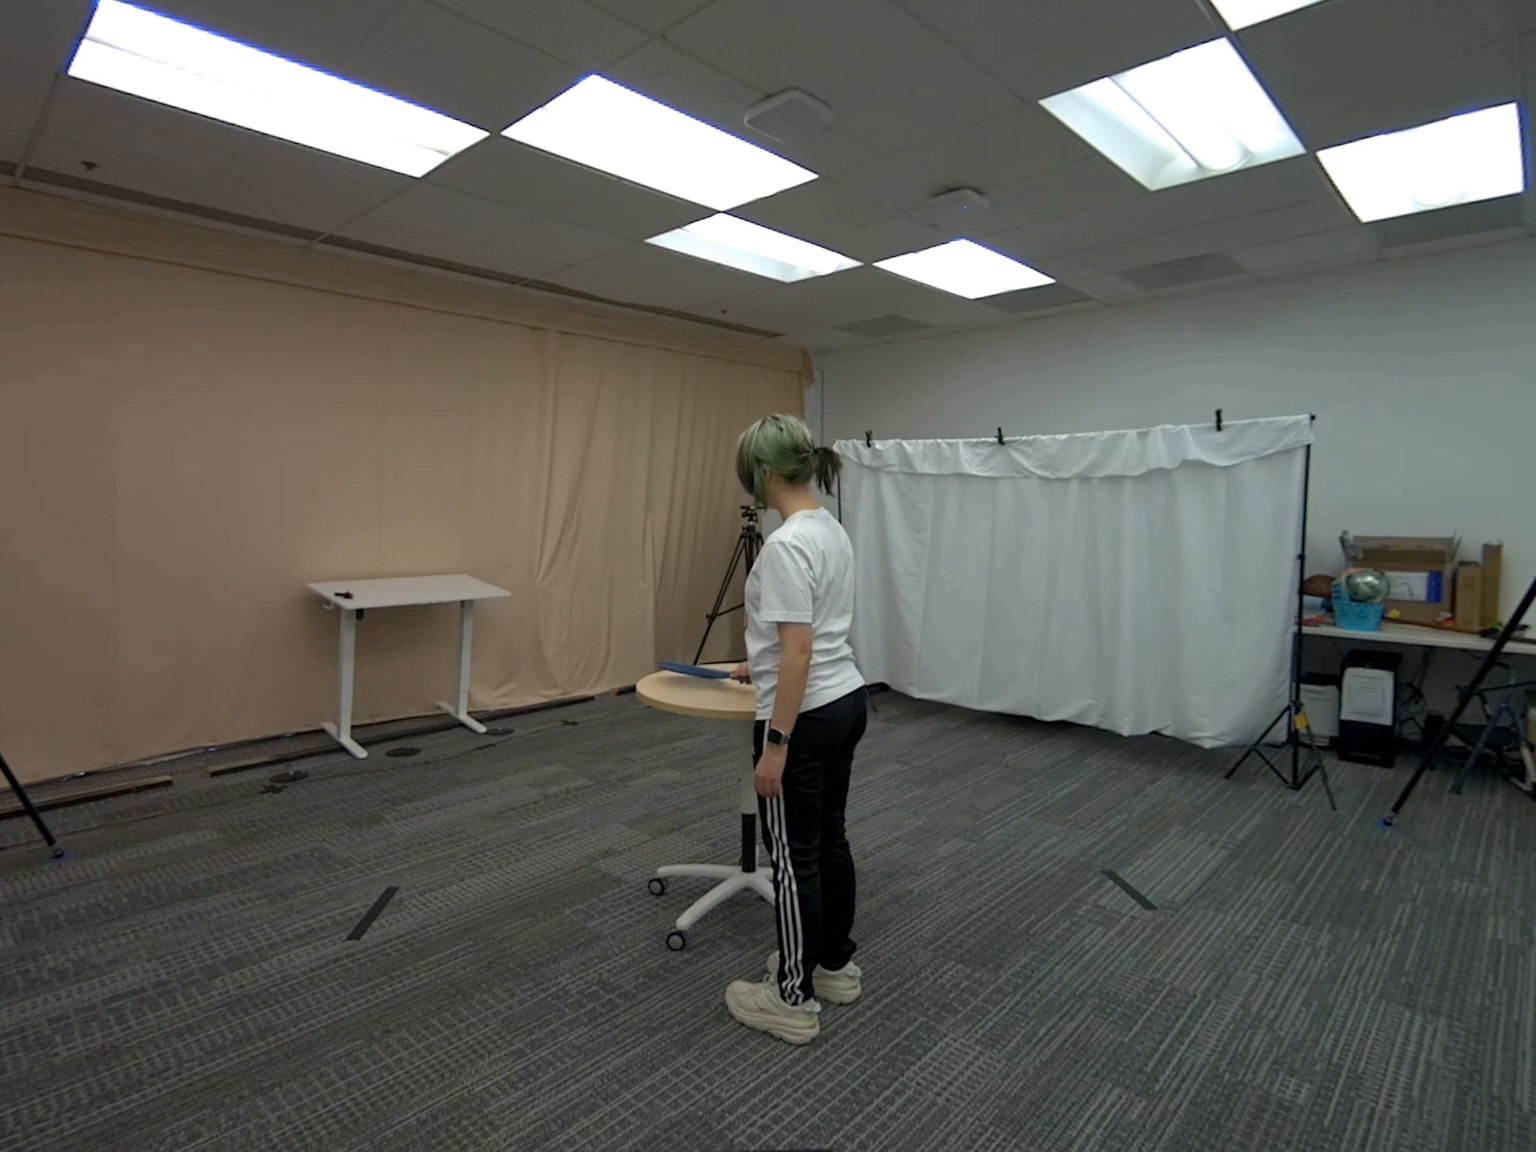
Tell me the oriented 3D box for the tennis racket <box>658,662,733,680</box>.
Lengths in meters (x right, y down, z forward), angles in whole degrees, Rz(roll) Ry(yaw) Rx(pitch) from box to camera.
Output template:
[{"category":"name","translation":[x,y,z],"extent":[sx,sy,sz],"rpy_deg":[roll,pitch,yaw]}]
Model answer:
[{"category":"tennis racket","translation":[-0.186,0.332,2.825],"extent":[0.447,0.032,0.206],"rpy_deg":[2,-13,42]}]
